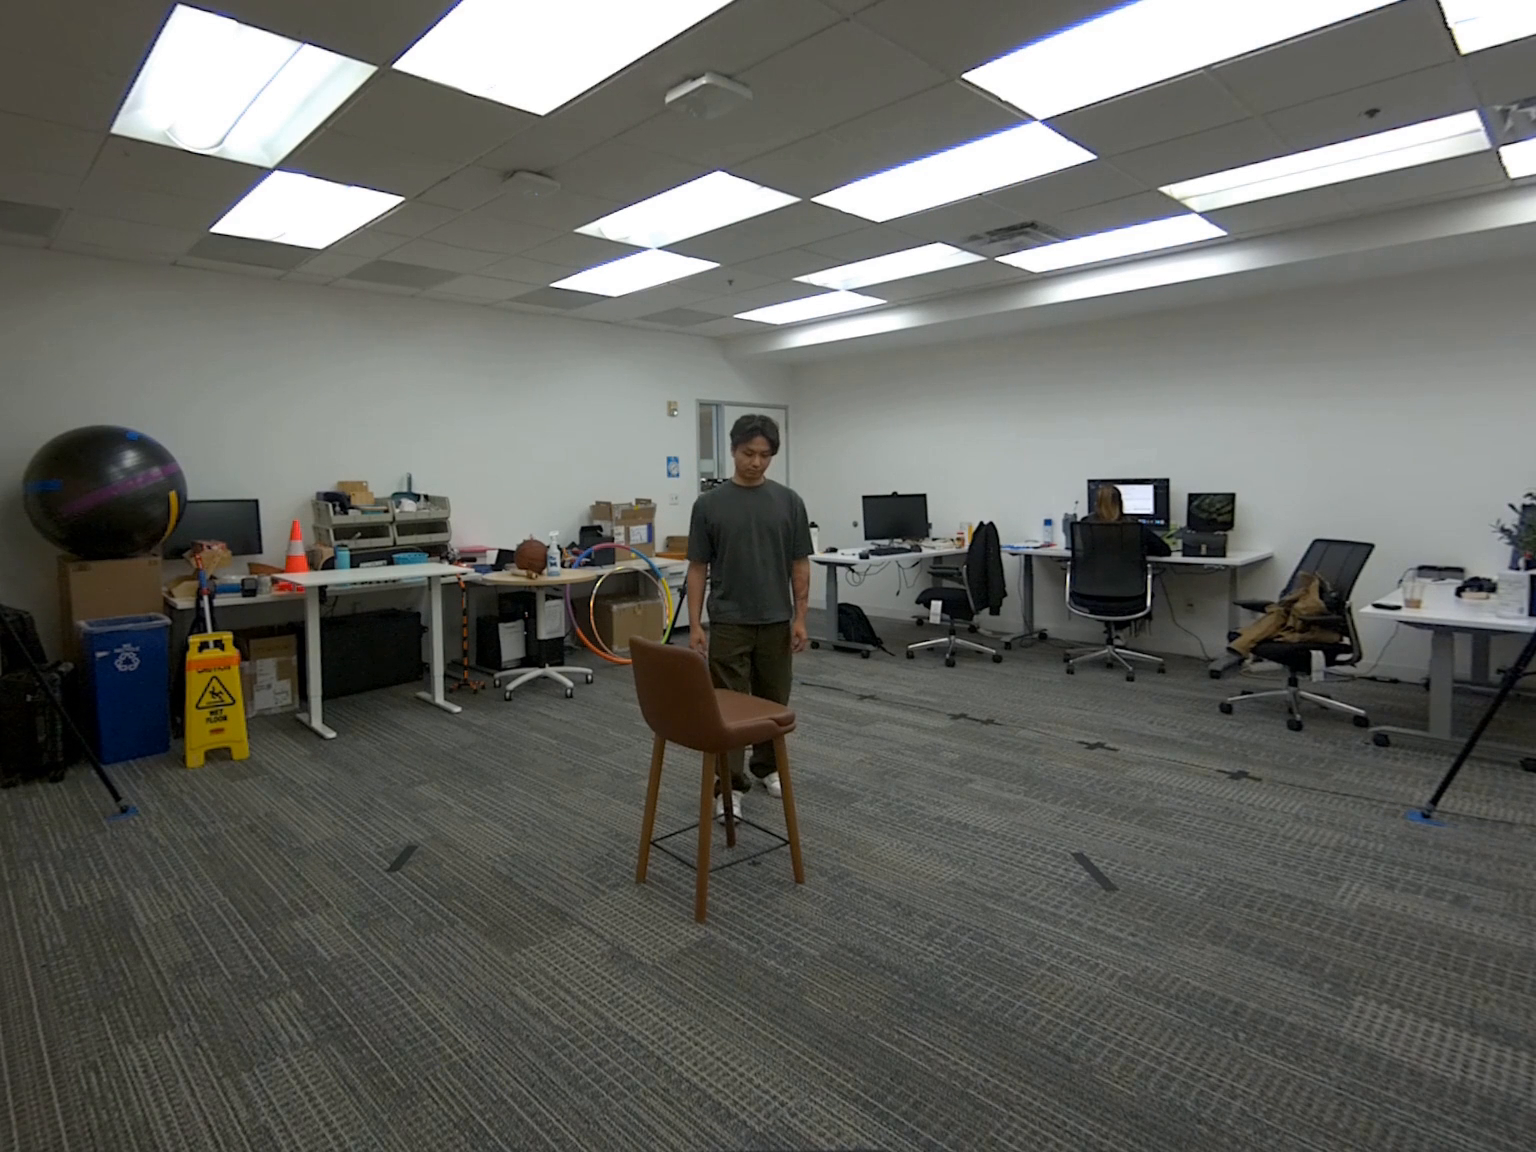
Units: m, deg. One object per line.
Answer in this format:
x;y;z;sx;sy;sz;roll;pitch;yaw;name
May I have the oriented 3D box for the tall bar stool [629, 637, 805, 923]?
-0.184;0.633;2.943;0.456;0.885;0.470;-7;7;-39;tall bar stool
